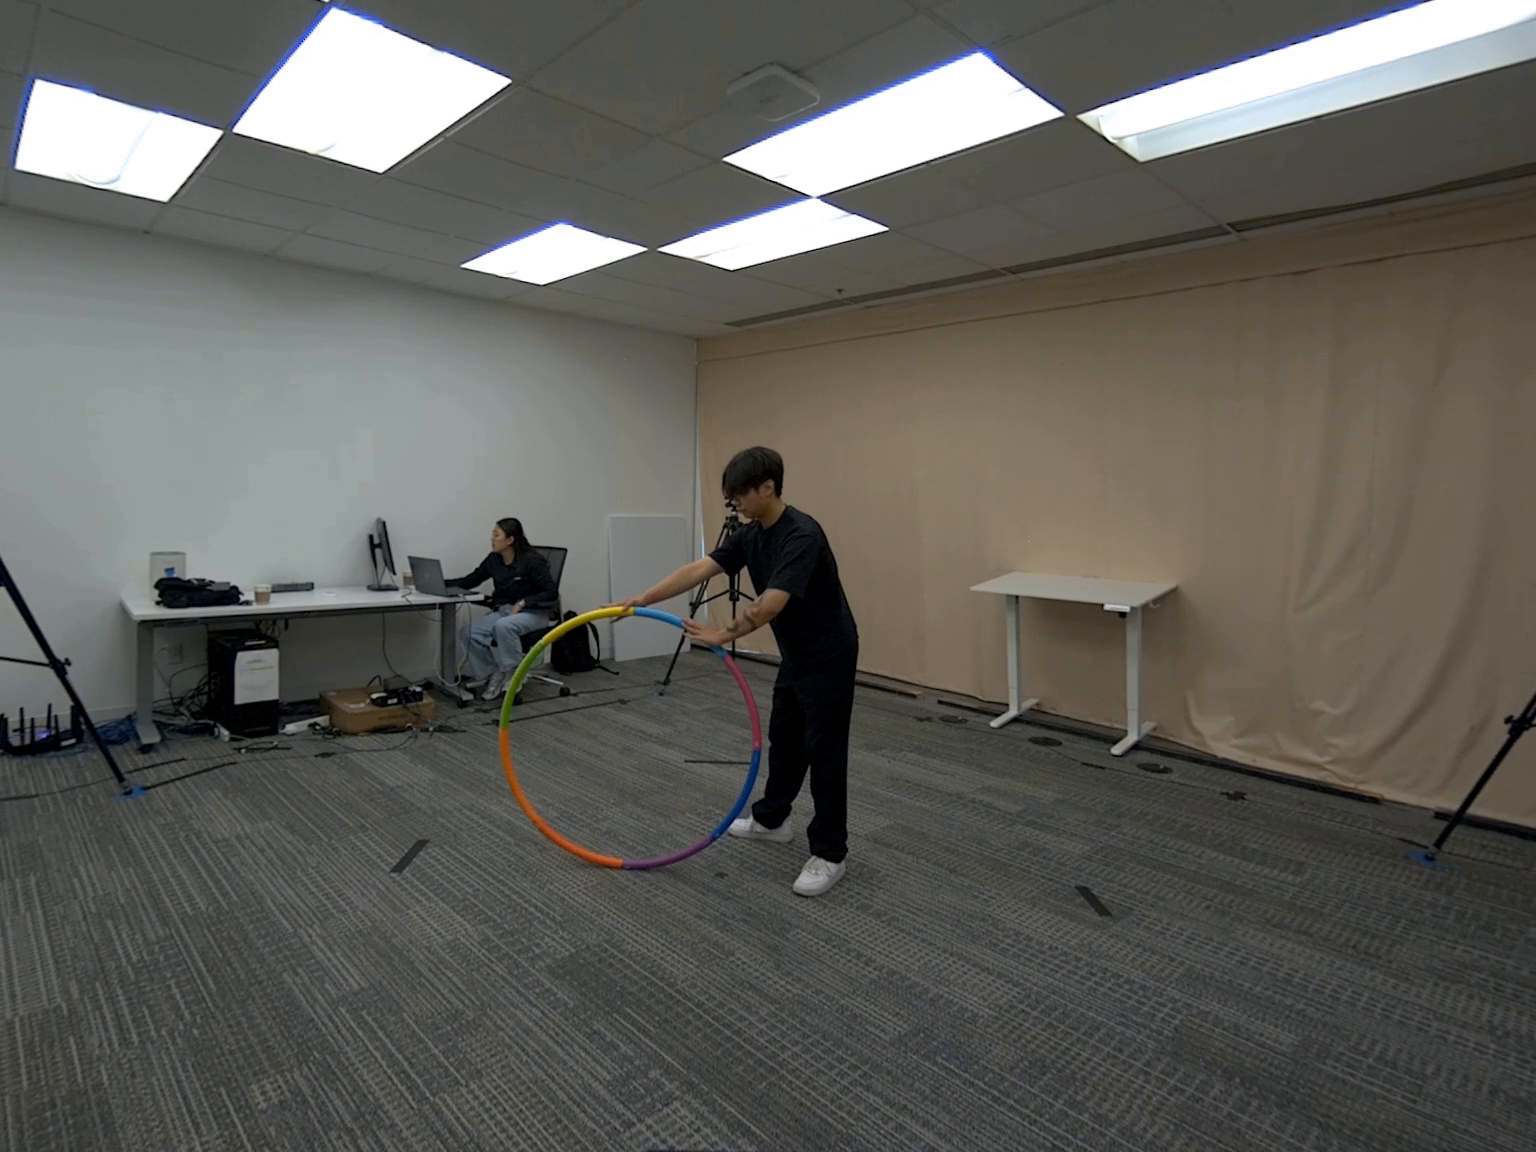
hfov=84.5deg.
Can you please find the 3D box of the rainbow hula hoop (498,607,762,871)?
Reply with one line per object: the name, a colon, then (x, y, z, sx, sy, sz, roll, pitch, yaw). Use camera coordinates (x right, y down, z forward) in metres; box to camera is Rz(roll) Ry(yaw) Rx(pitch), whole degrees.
rainbow hula hoop: (-0.523, 0.597, 3.112, 0.984, 0.976, 0.035, 2, 3, 7)
